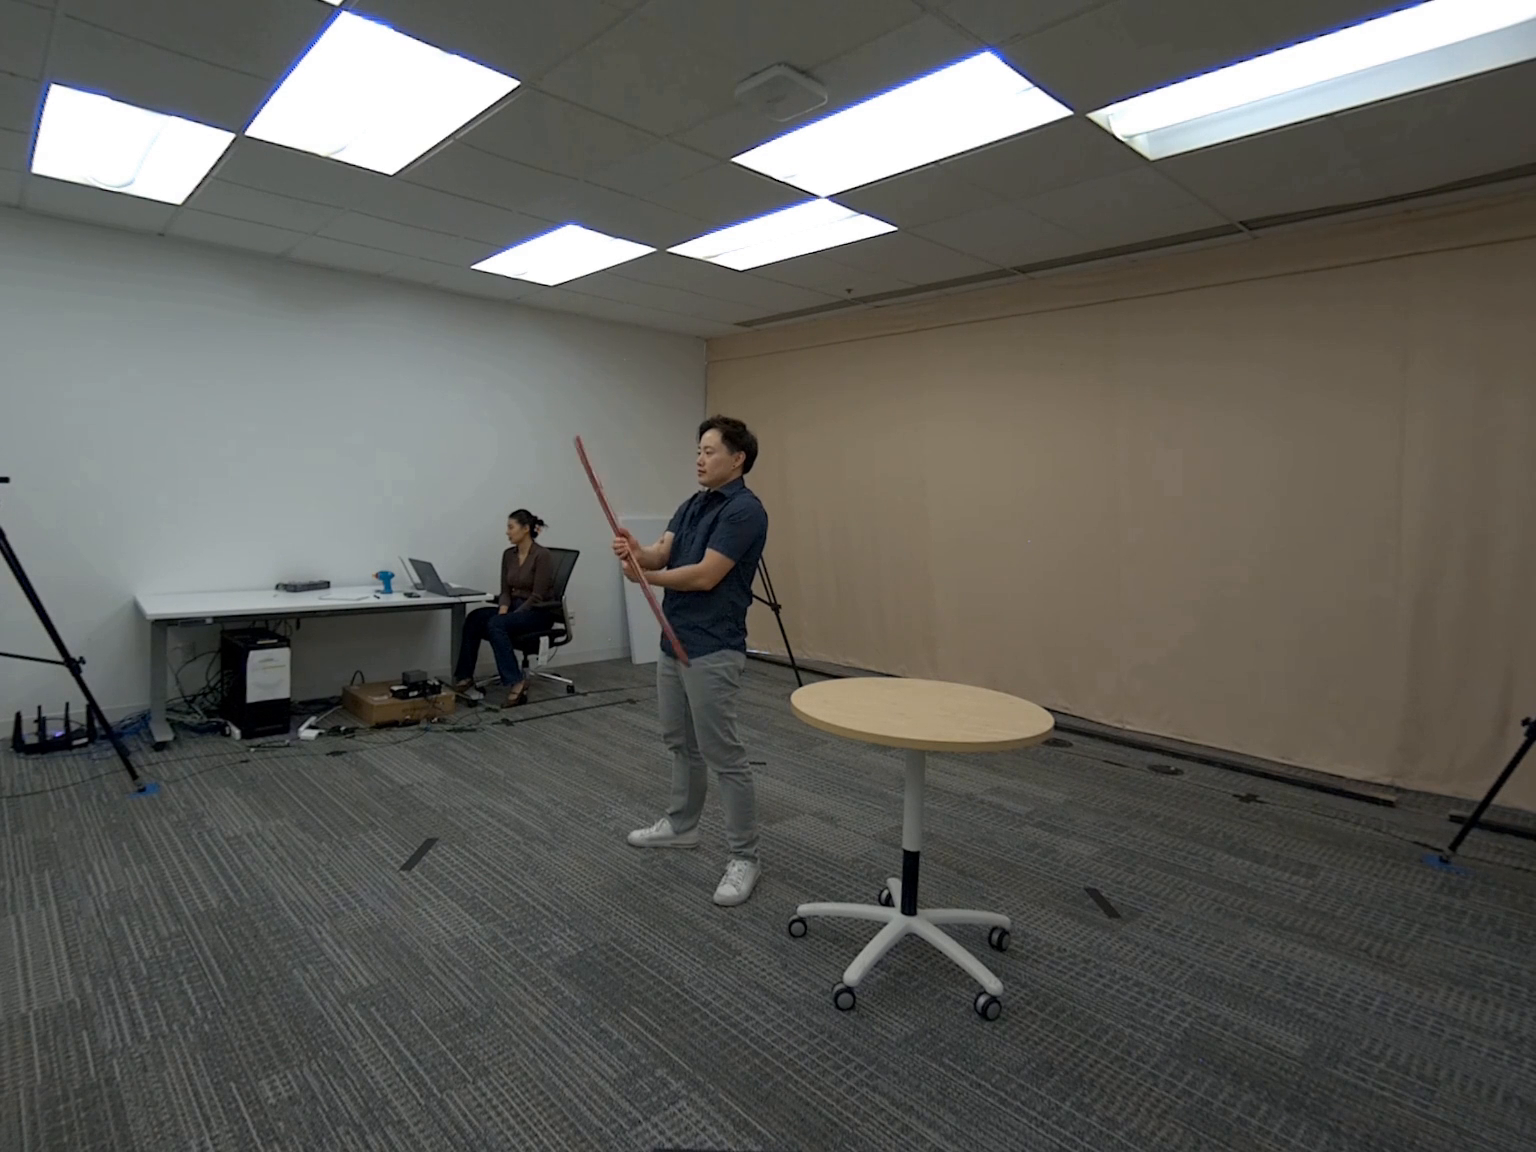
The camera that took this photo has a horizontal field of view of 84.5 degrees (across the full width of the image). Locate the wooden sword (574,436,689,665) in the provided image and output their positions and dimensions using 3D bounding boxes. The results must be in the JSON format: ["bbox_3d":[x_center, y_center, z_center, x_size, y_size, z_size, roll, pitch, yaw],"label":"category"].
[{"bbox_3d":[-0.497,-0.121,2.849,0.050,1.052,0.024,-6,-36,-35],"label":"wooden sword"}]
